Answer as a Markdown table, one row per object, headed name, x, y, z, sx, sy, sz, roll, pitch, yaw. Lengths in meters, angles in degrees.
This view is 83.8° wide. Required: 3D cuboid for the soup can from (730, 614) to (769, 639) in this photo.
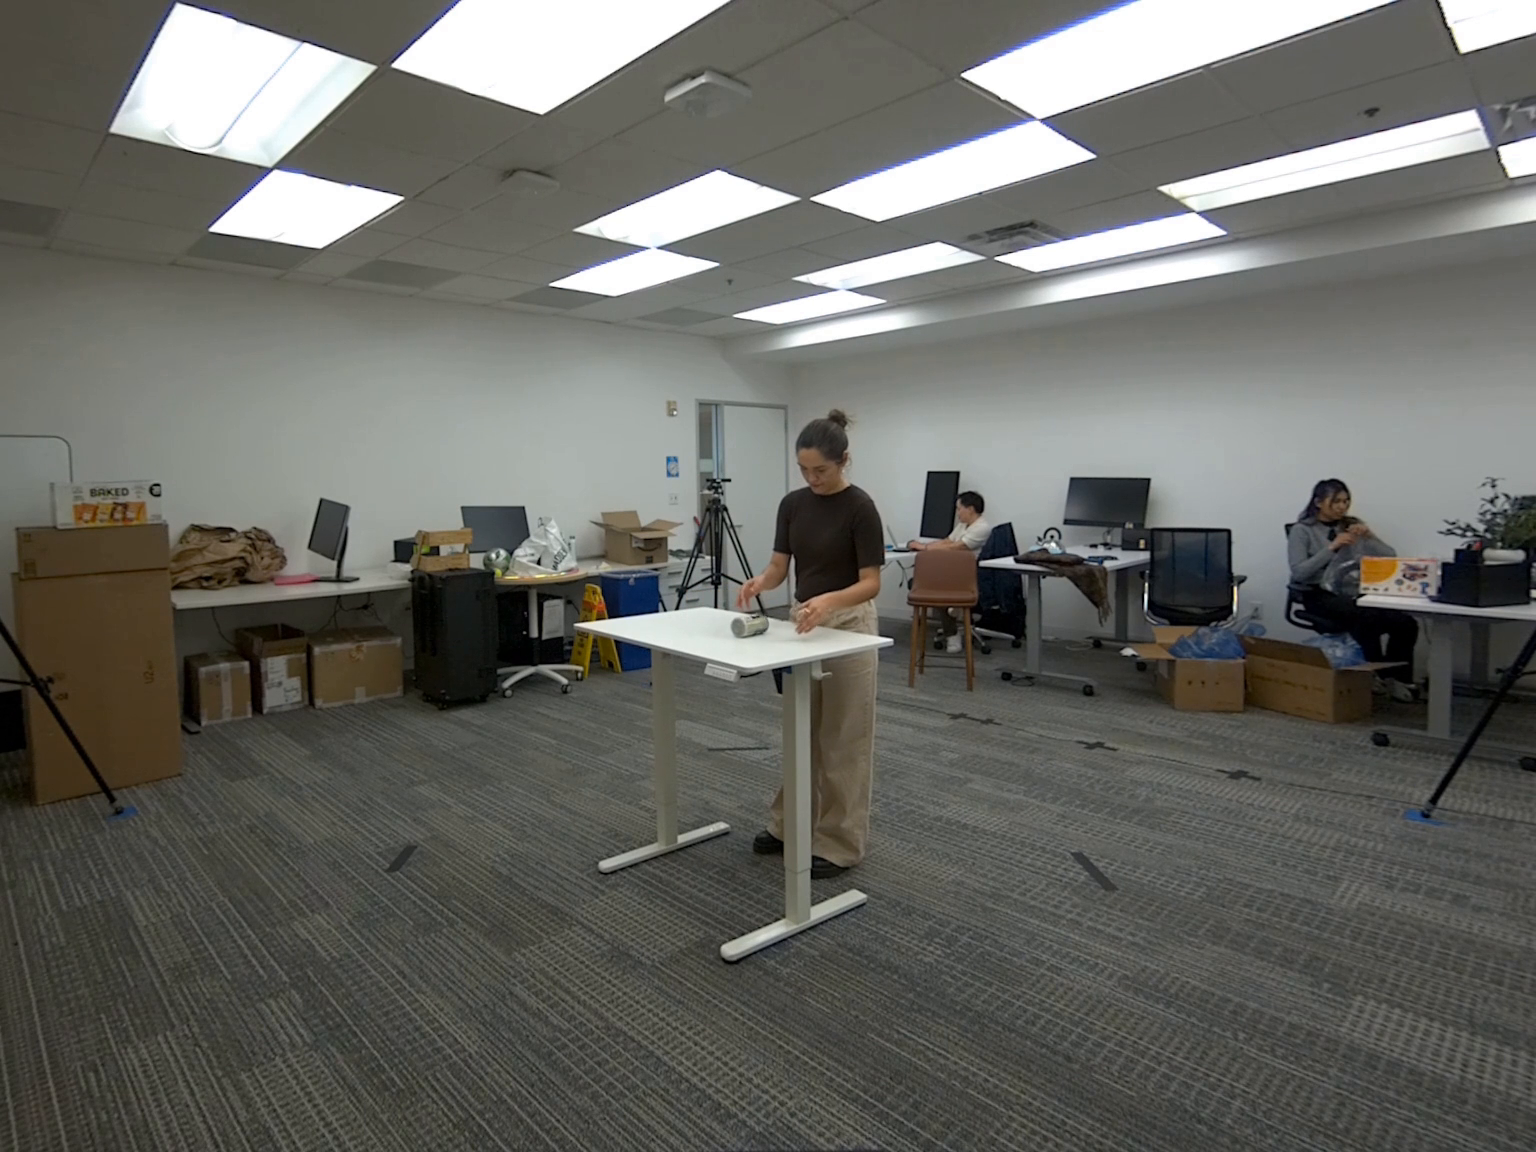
| name | x | y | z | sx | sy | sz | roll | pitch | yaw |
| --- | --- | --- | --- | --- | --- | --- | --- | --- | --- |
| soup can | -0.061 | 0.162 | 2.801 | 0.118 | 0.067 | 0.069 | -6 | 7 | -44 |
